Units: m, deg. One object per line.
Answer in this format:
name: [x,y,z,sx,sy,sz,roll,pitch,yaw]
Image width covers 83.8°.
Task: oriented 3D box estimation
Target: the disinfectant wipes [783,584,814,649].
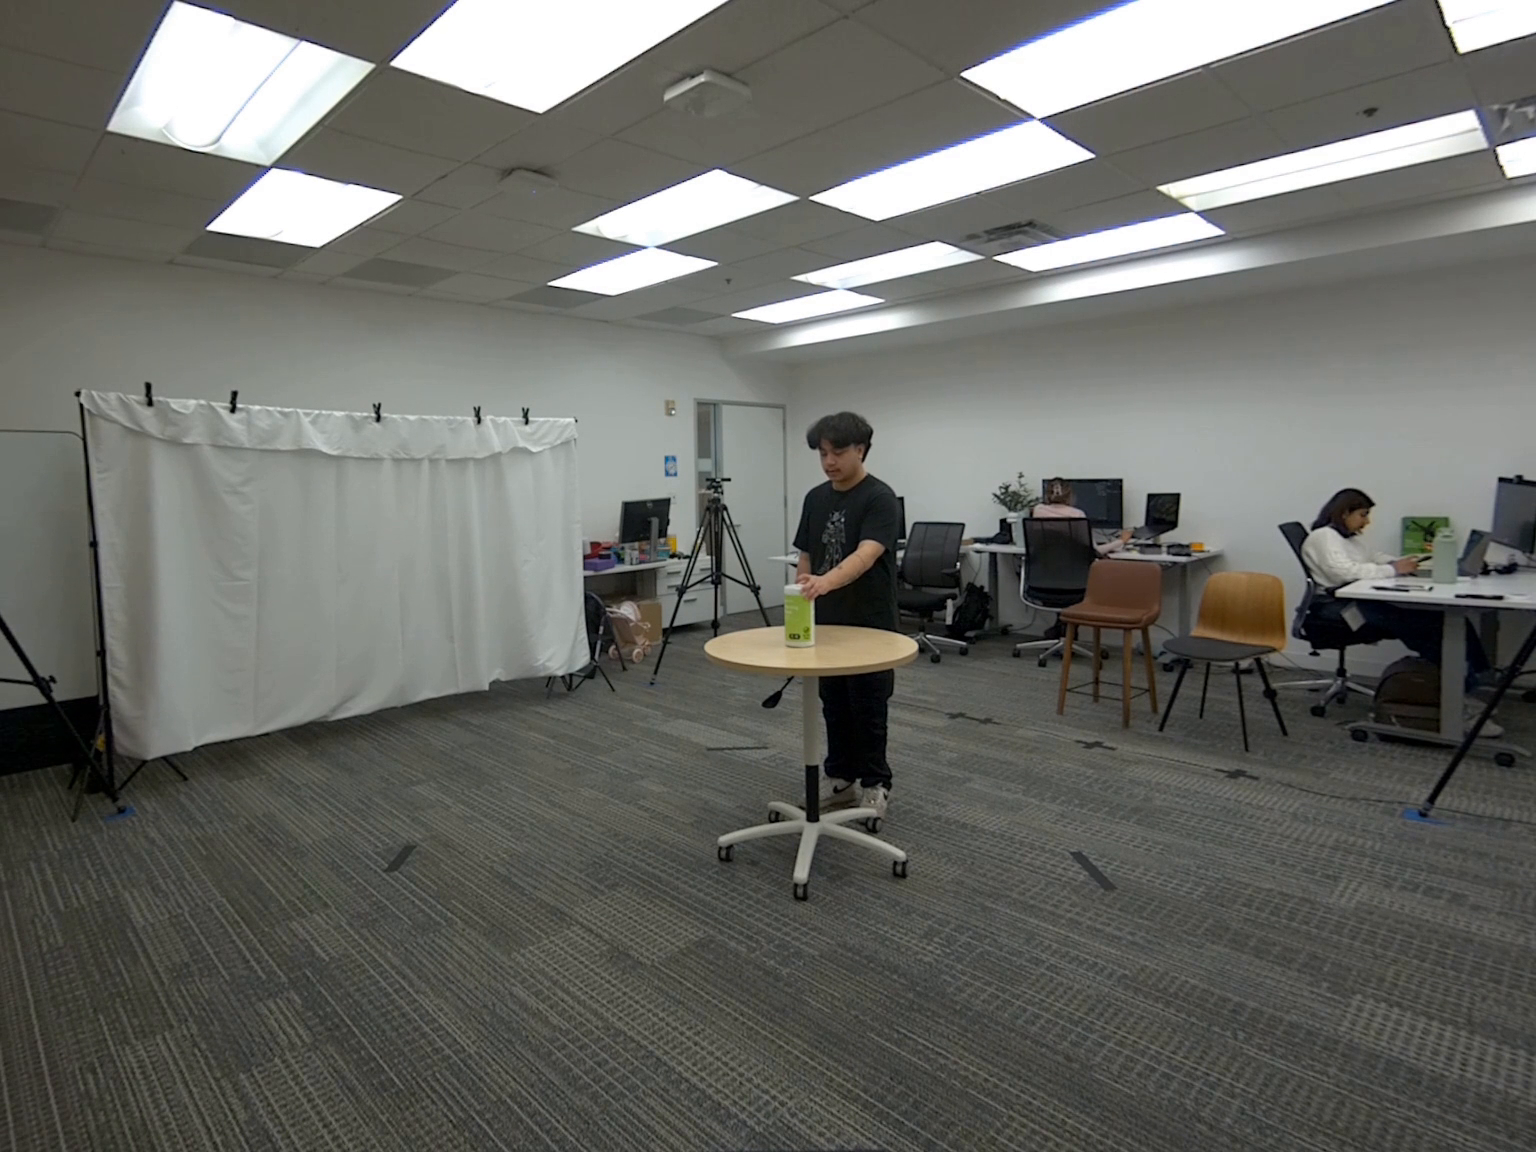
disinfectant wipes: [0.118,0.147,3.078,0.118,0.217,0.118,-3,1,-2]
